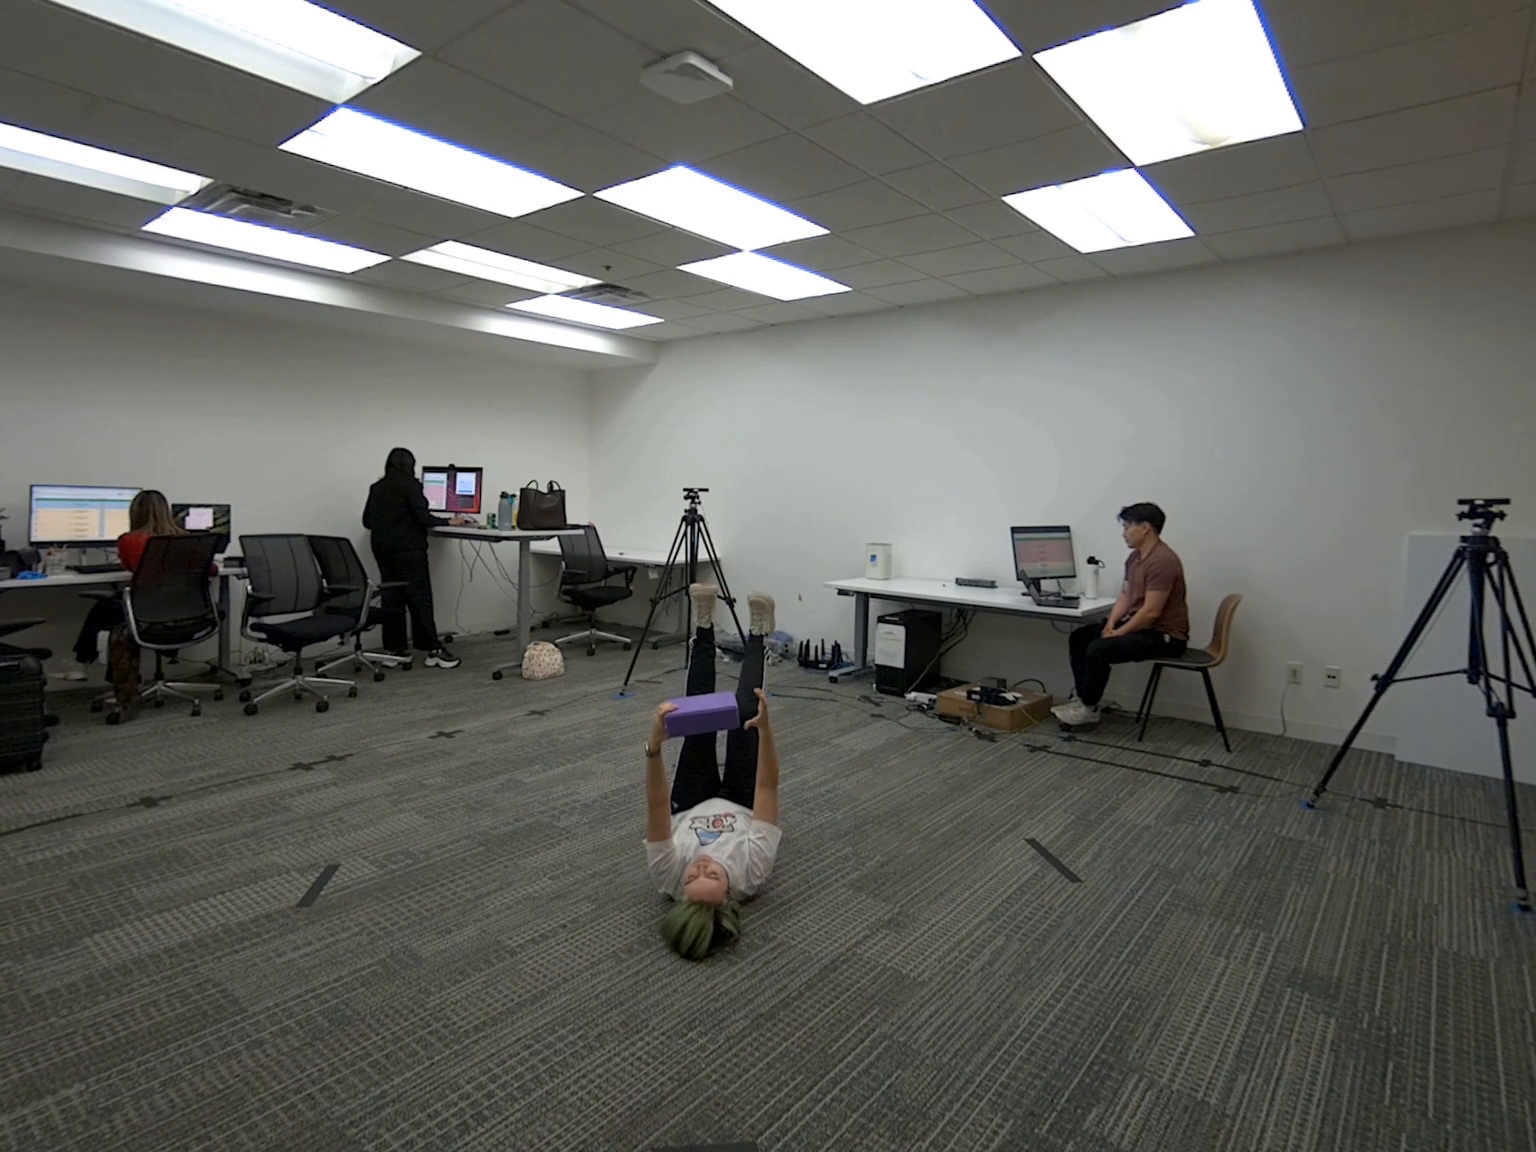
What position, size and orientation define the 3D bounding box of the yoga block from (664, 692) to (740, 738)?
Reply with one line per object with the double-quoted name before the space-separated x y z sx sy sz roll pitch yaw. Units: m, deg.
"yoga block" -0.213 0.439 2.701 0.228 0.075 0.151 -6 11 -5
